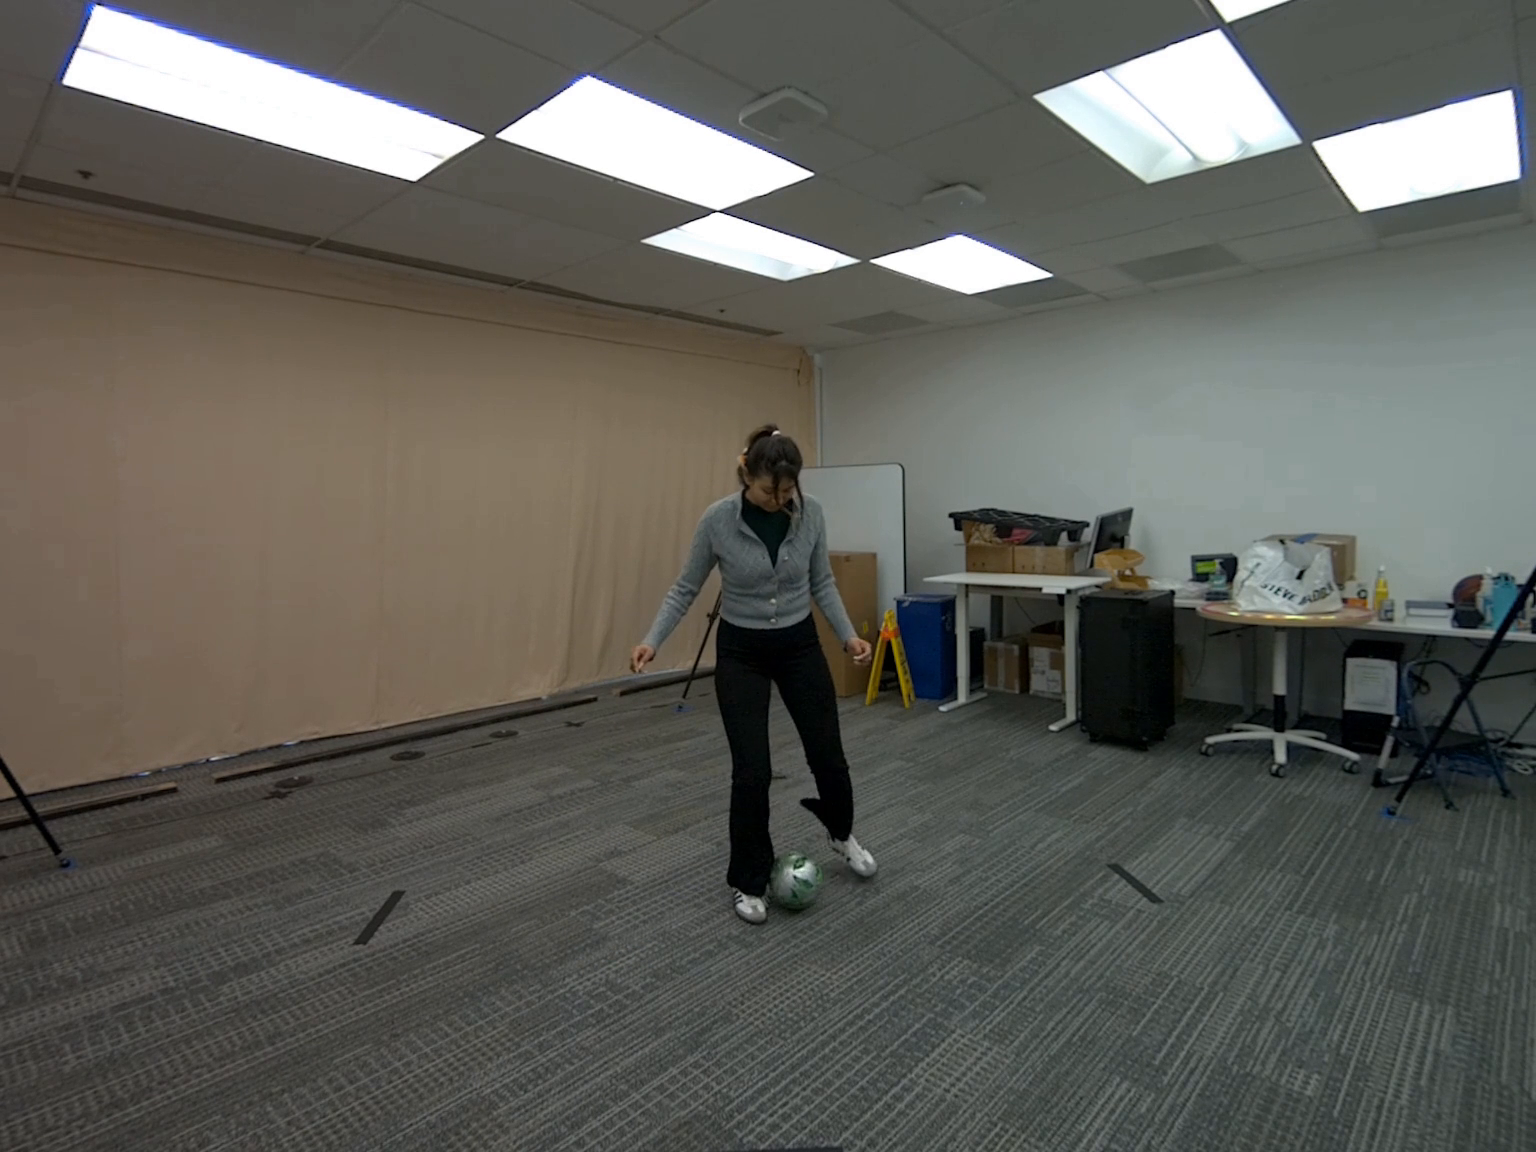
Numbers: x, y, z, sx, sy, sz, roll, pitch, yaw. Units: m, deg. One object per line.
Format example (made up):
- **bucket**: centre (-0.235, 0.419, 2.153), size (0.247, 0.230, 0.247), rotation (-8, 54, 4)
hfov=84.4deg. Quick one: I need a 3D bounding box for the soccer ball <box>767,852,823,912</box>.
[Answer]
- **soccer ball**: centre (0.090, 1.047, 2.884), size (0.187, 0.187, 0.188), rotation (-1, 4, -2)
